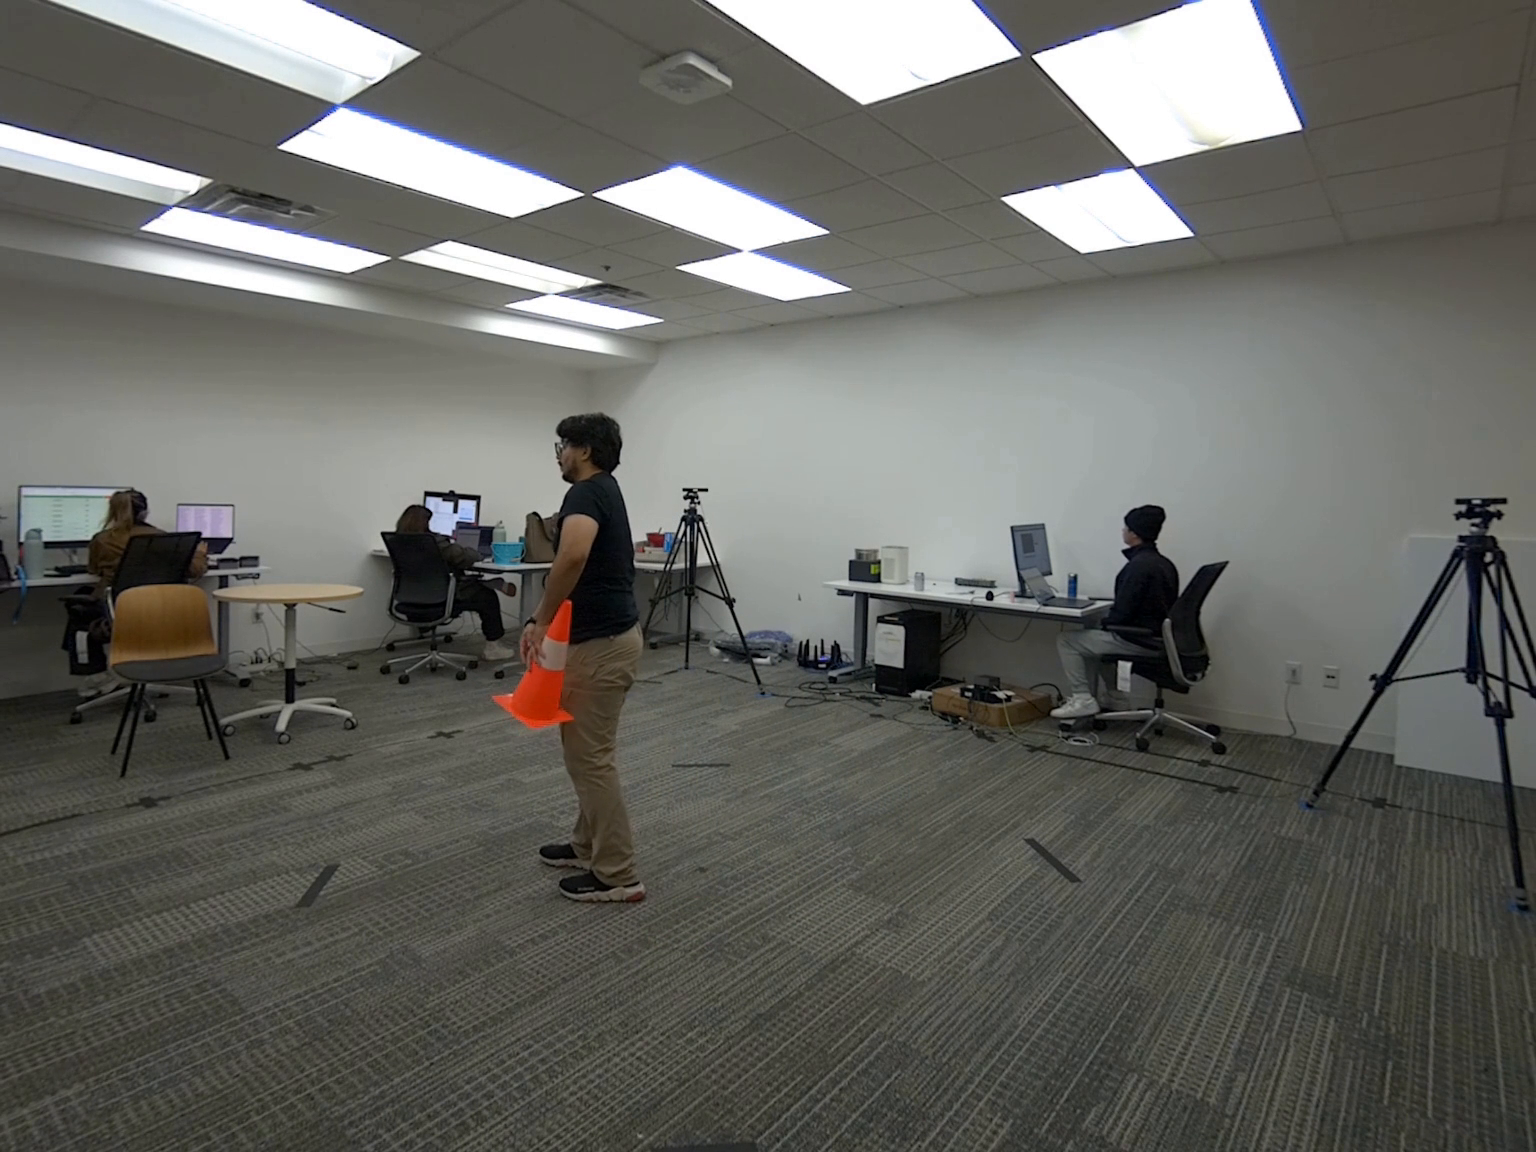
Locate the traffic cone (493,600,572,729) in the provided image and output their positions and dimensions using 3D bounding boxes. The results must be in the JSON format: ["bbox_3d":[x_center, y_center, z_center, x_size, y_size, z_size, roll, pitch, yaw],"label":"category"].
[{"bbox_3d":[-0.703,0.257,2.694,0.211,0.381,0.198,27,14,36],"label":"traffic cone"}]
